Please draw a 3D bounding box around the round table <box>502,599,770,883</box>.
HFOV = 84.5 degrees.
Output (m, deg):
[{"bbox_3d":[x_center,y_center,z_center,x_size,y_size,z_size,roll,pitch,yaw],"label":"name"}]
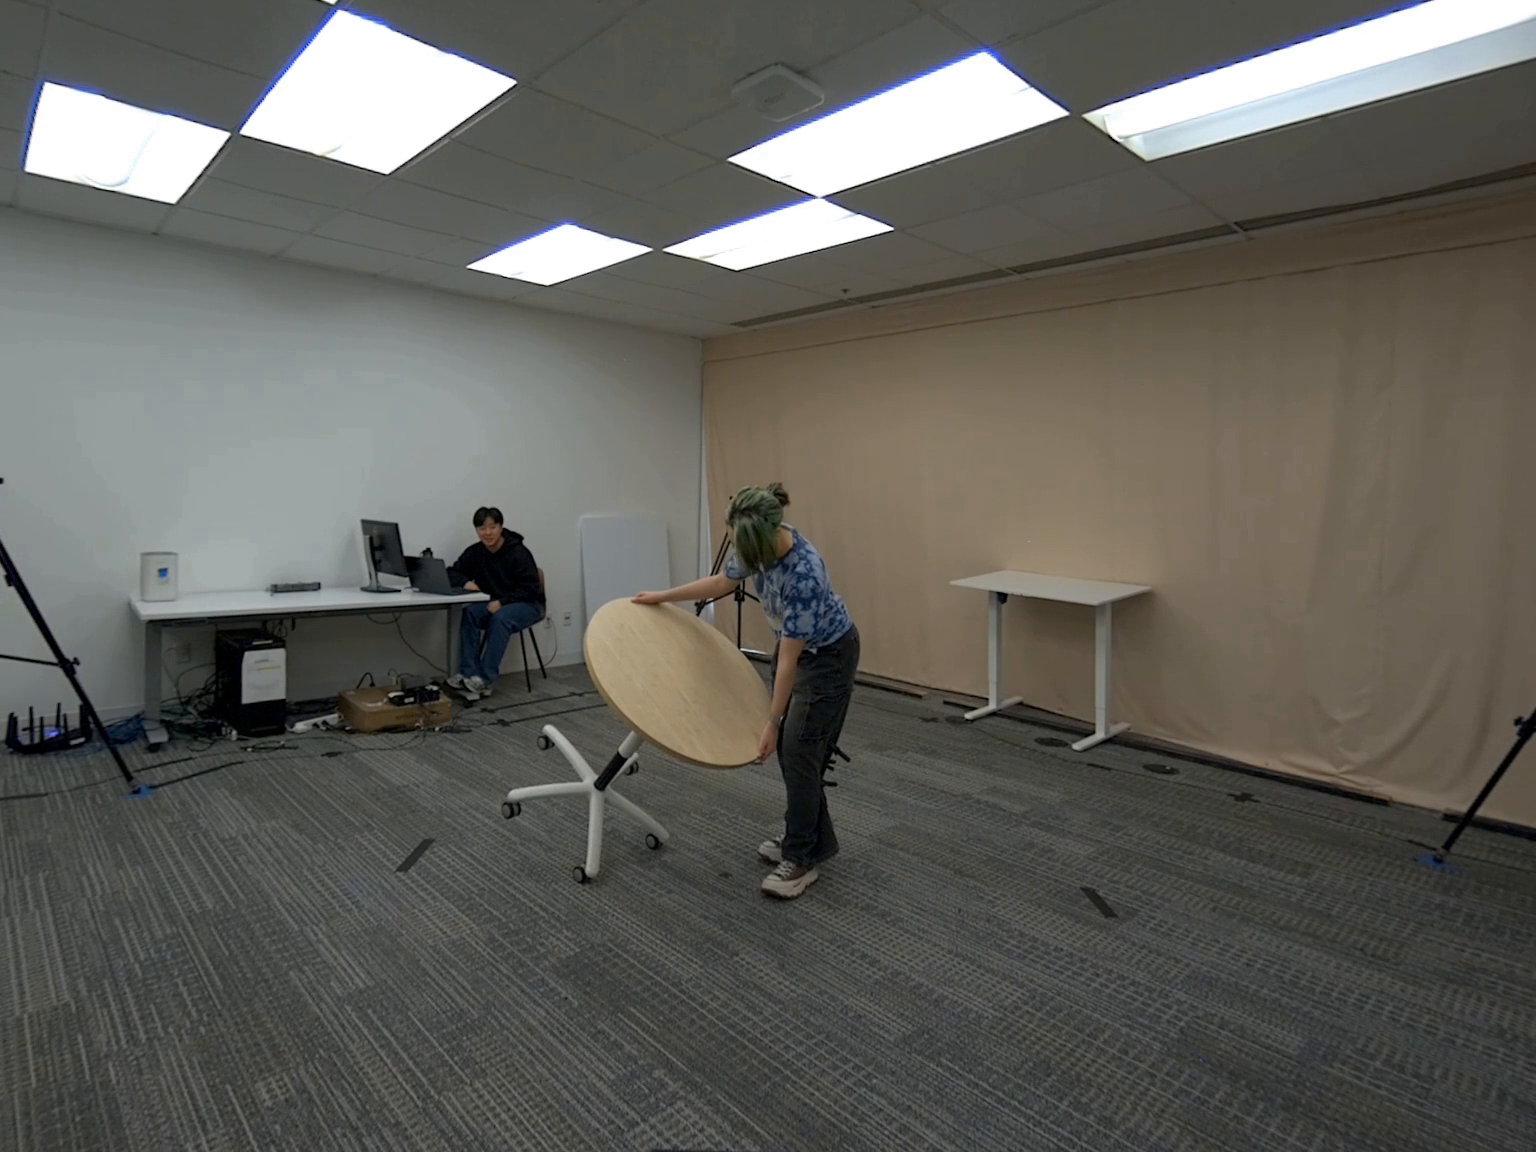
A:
[{"bbox_3d":[-0.512,0.631,3.130,0.751,0.791,0.779,28,26,-17],"label":"round table"}]
